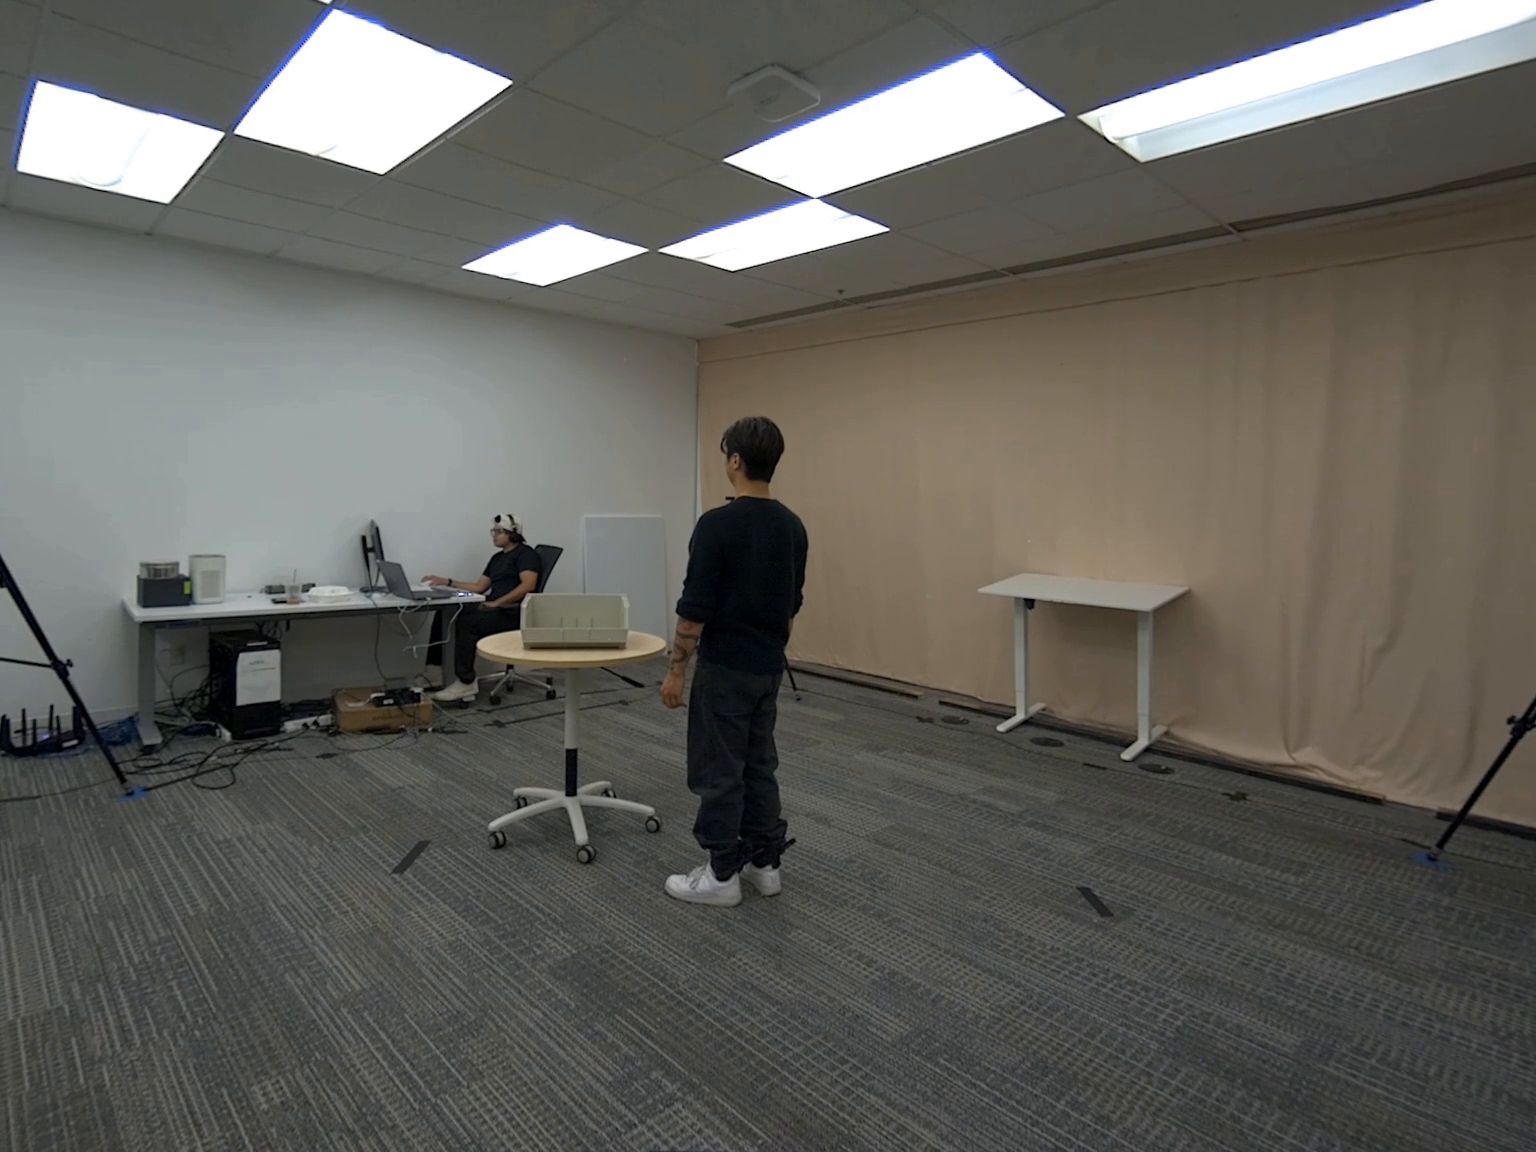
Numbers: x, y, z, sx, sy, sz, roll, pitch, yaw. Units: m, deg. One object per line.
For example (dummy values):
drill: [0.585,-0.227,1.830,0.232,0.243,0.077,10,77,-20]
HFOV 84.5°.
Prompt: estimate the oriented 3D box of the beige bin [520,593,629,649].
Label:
beige bin: [-0.794,0.186,3.464,0.419,0.188,0.381,0,4,-11]
